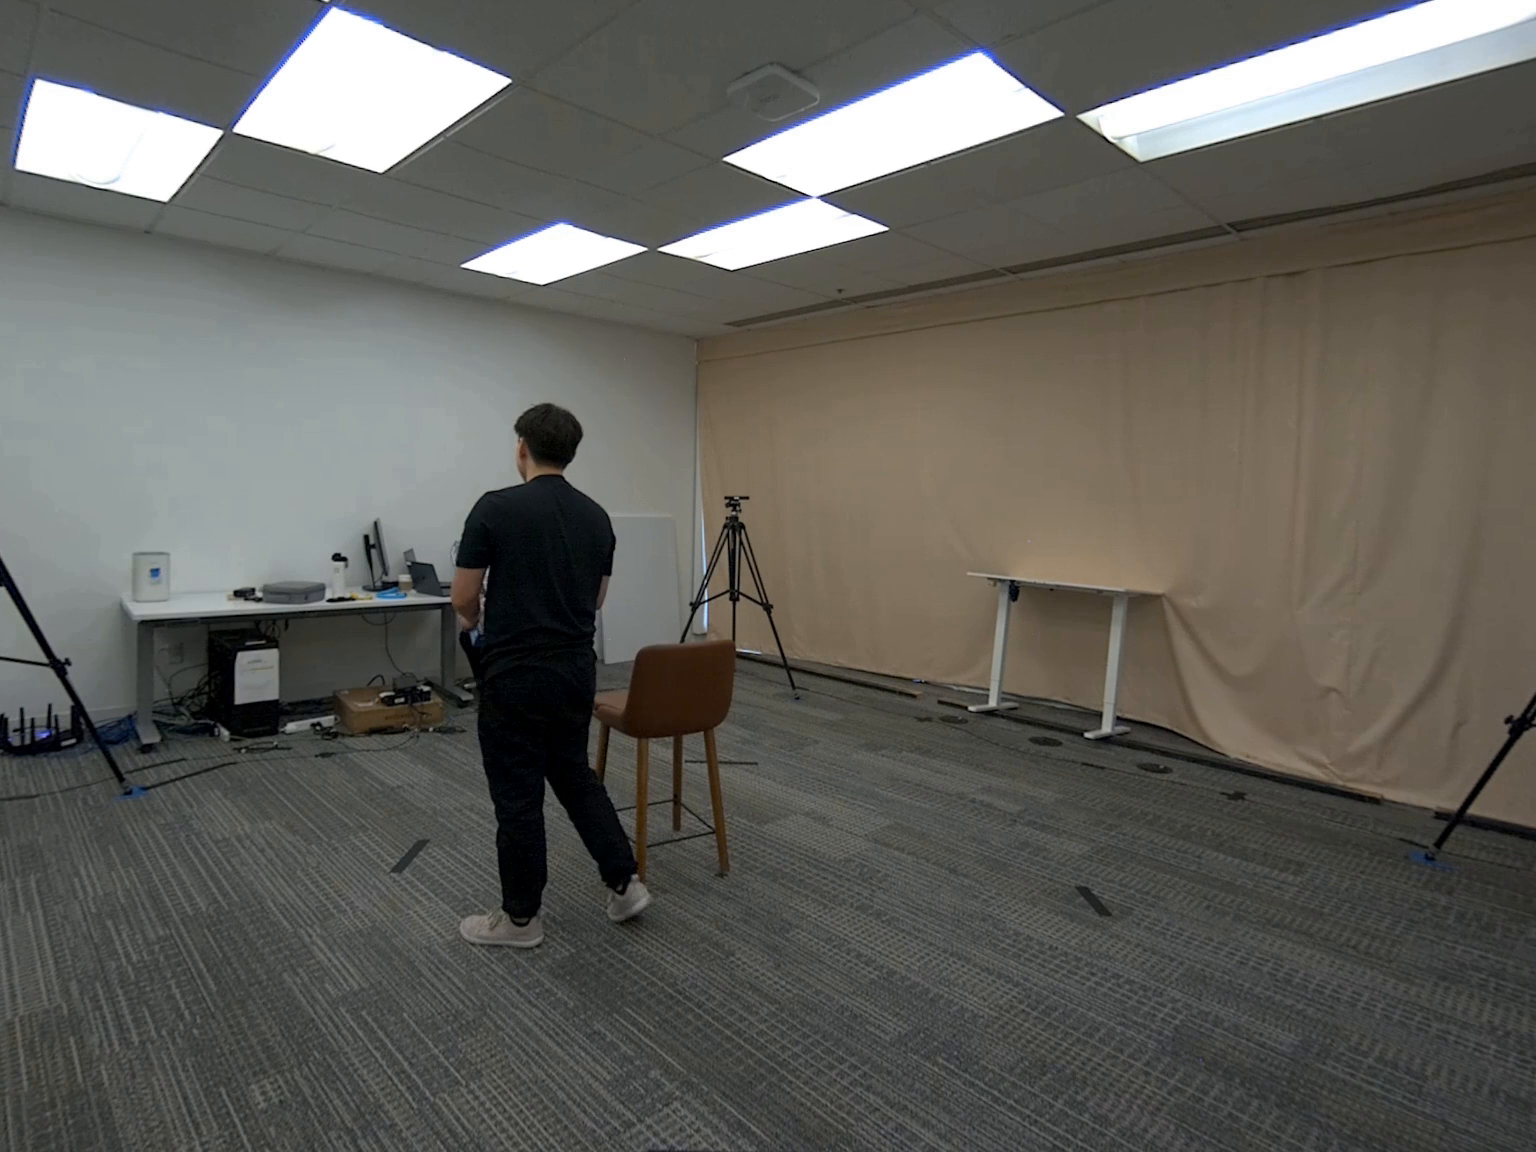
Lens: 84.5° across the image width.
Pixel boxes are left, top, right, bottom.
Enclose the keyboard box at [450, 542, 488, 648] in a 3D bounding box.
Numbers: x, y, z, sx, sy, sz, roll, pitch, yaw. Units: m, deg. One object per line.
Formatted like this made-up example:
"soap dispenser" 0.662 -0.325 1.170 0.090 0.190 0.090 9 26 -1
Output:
"keyboard box" -0.965 0.069 2.893 0.171 0.059 0.450 5 41 -37
